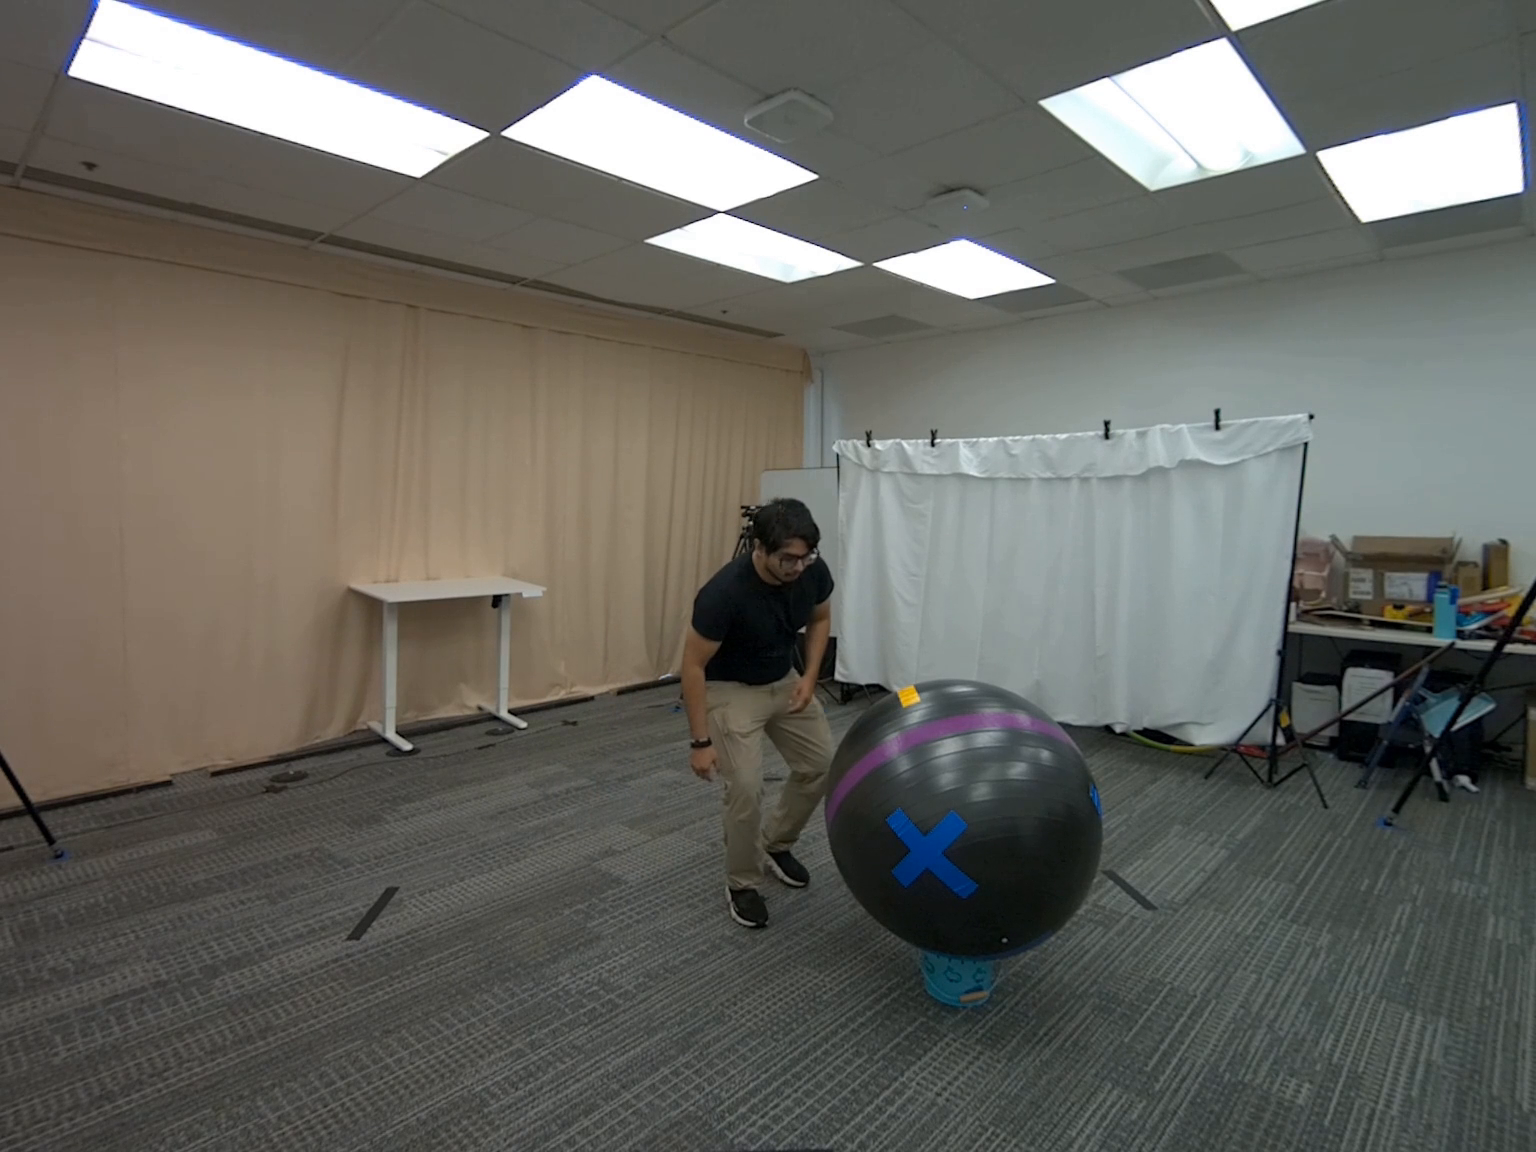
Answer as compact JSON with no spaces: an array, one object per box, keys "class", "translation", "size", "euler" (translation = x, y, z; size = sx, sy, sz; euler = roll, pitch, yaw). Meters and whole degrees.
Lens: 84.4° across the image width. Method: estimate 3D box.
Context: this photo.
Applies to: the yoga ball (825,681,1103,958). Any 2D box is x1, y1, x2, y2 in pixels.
[{"class":"yoga ball","translation":[0.552,0.684,2.403],"size":[0.757,0.756,0.760],"euler":[0,4,-2]}]
